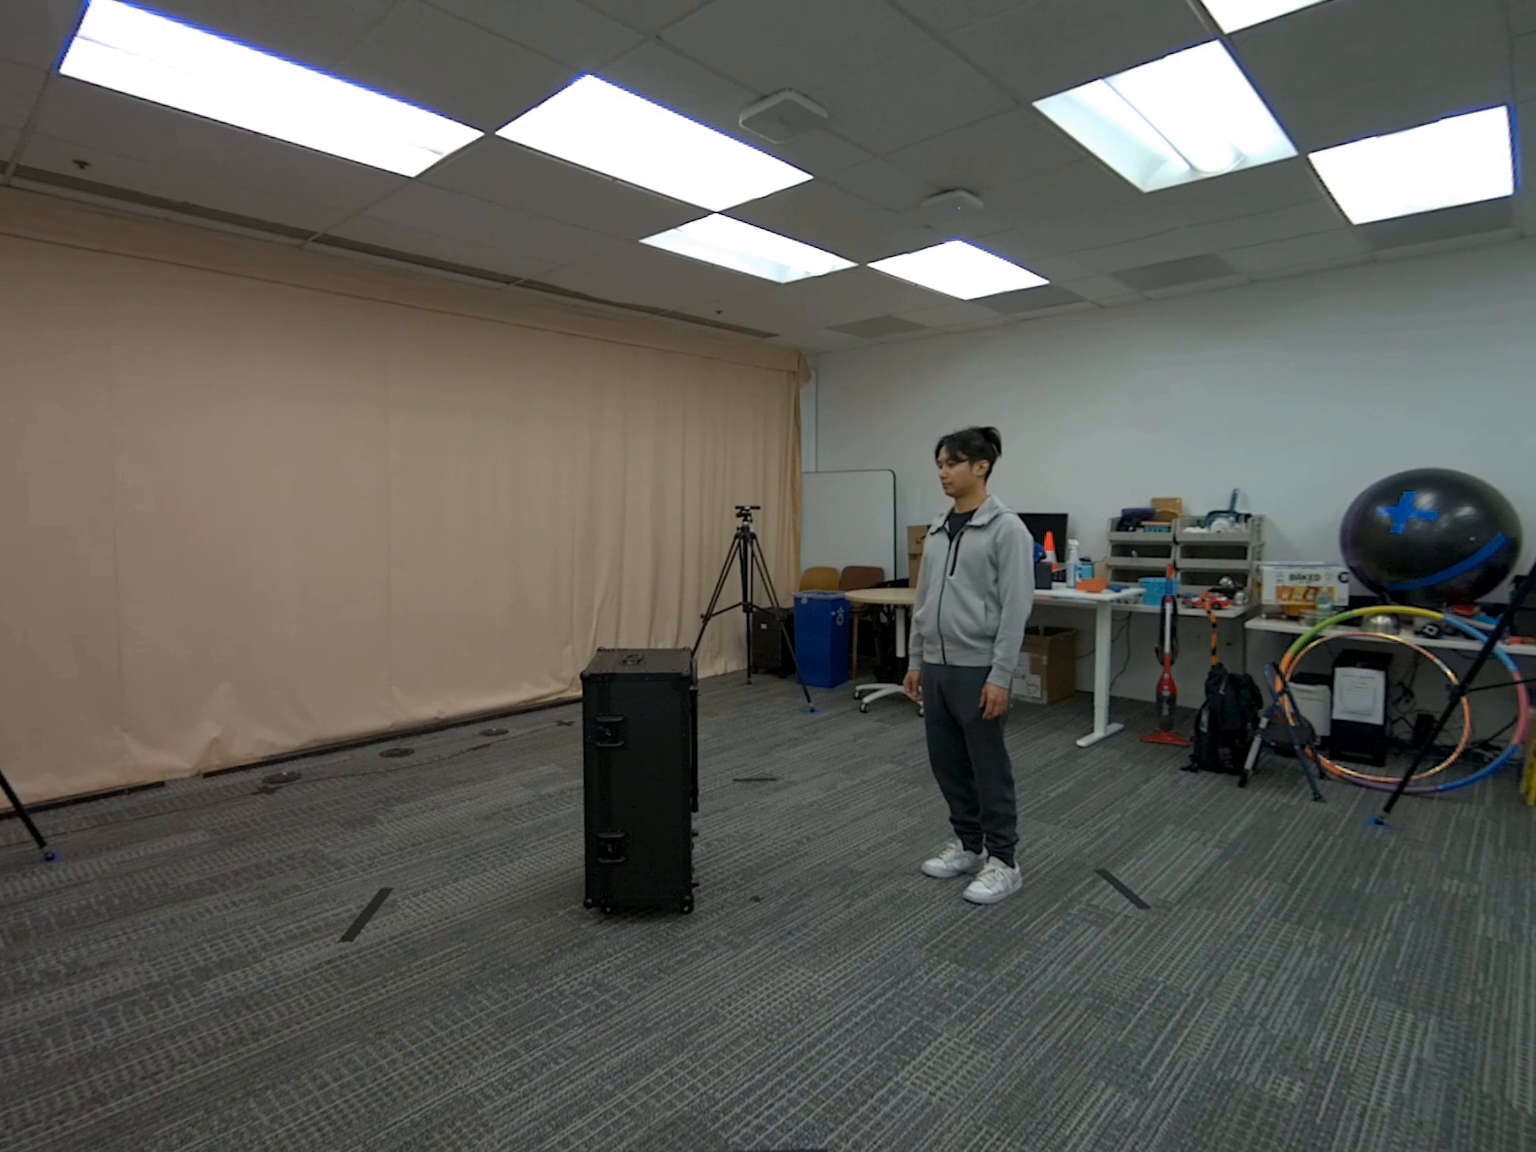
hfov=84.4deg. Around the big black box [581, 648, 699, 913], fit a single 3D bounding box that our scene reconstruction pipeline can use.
[{"bbox_3d":[-0.441,0.726,3.008,0.395,0.860,0.523,0,2,-4],"label":"big black box"}]
